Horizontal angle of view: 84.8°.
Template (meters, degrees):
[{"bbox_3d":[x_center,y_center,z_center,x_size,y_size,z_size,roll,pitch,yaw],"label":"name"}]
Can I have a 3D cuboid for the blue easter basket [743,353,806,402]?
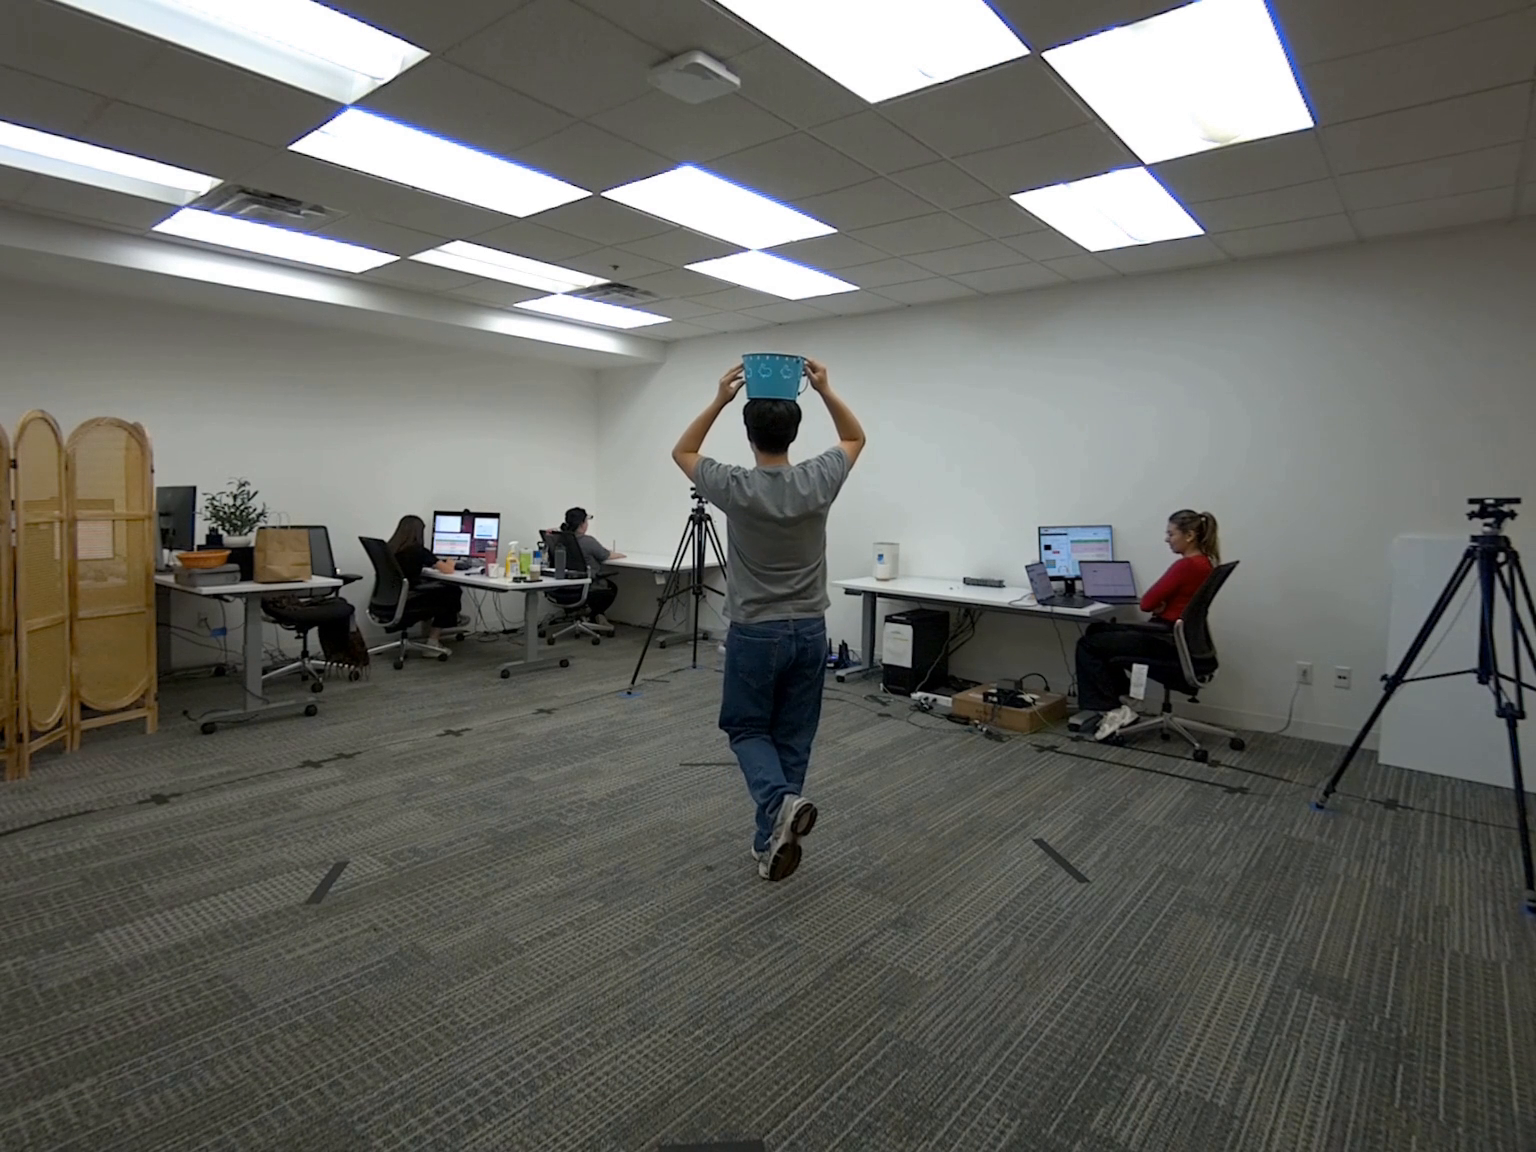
[{"bbox_3d":[0.013,-0.707,3.045,0.243,0.155,0.245,3,8,-2],"label":"blue easter basket"}]
